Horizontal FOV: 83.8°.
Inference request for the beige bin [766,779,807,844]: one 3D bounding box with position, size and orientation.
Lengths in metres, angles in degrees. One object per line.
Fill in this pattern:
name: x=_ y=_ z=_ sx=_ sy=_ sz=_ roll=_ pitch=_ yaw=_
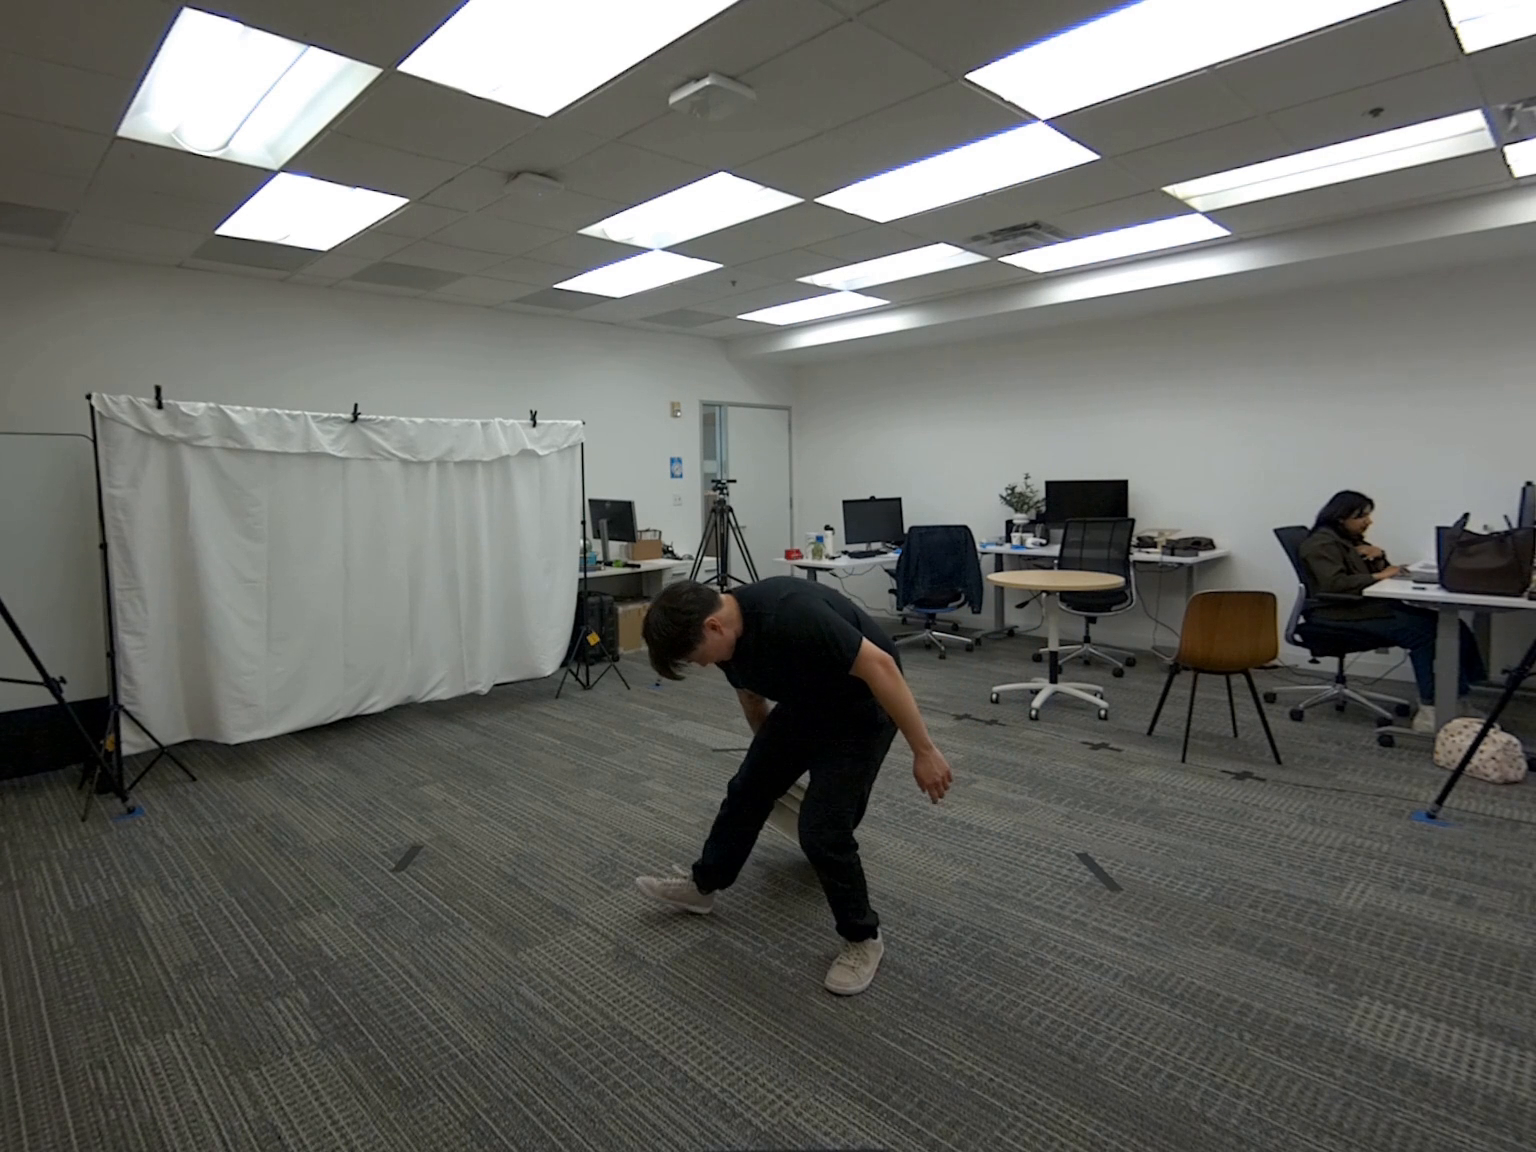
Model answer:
beige bin: x=0.127 y=0.846 z=2.995 sx=0.385 sy=0.189 sz=0.412 roll=28 pitch=-13 yaw=16
